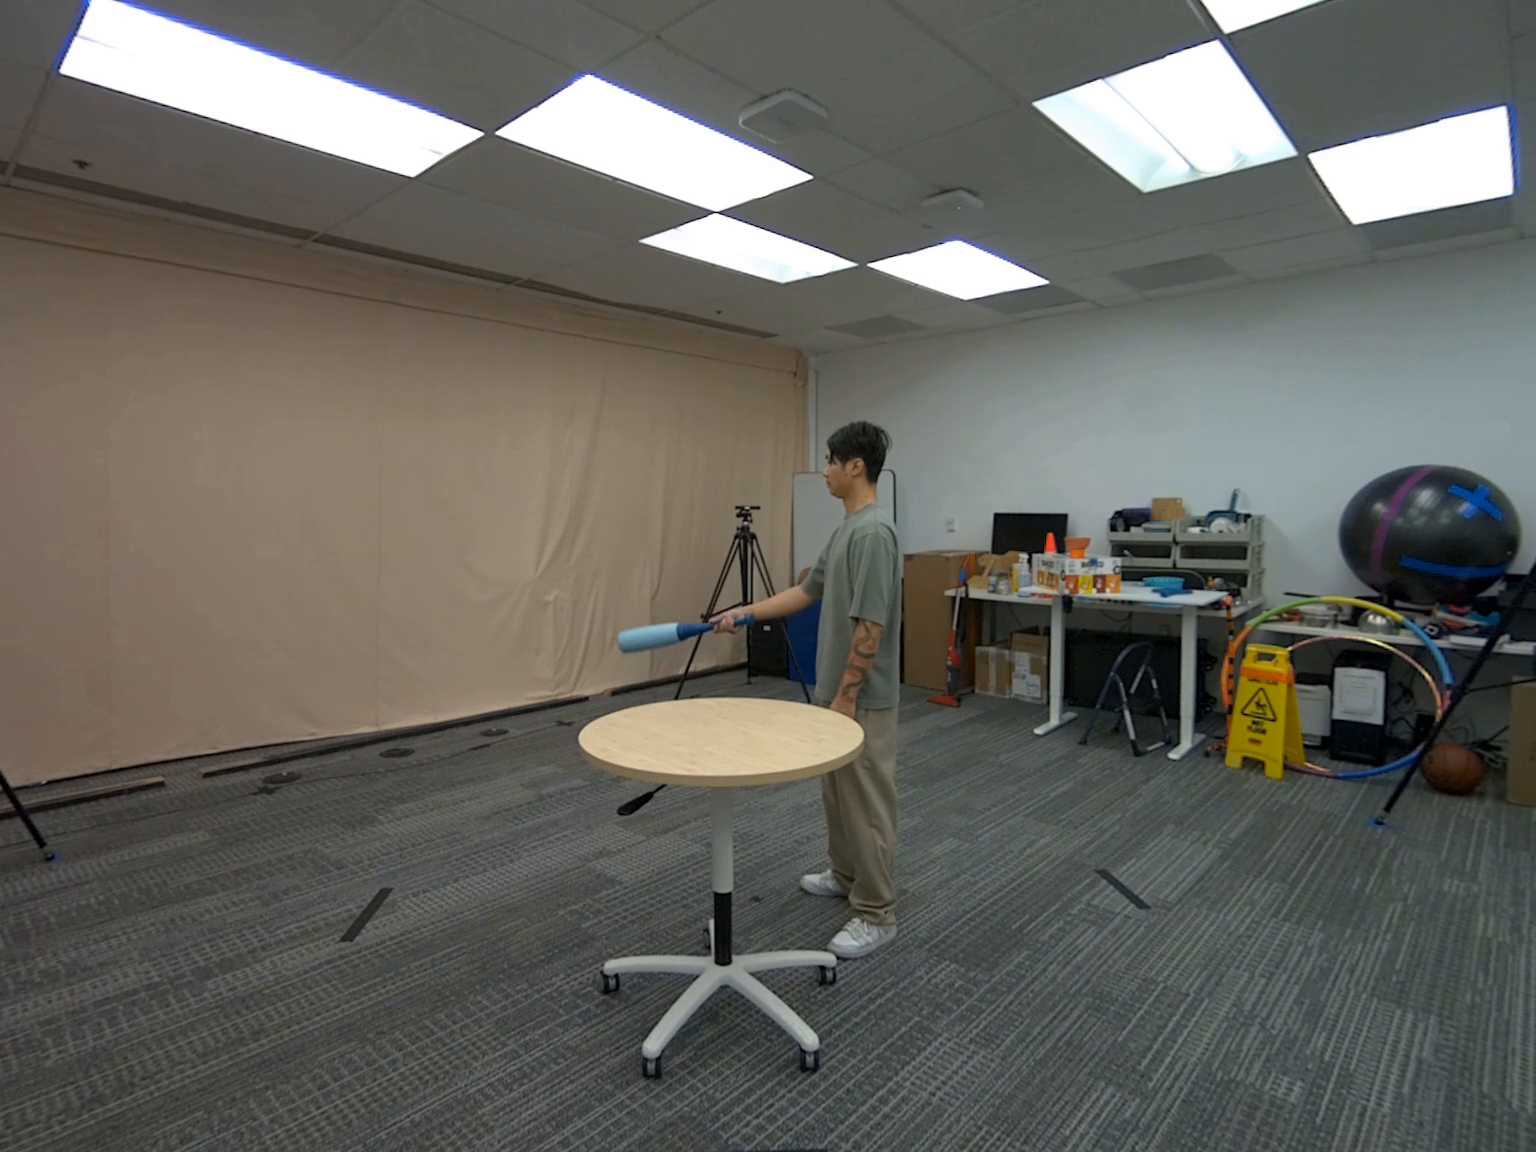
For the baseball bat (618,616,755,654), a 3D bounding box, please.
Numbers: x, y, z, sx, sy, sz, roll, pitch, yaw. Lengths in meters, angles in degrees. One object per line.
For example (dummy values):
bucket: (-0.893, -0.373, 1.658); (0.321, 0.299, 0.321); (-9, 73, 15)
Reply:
baseball bat: (-0.299, 0.209, 3.116); (0.553, 0.089, 0.087); (-10, 0, 20)
